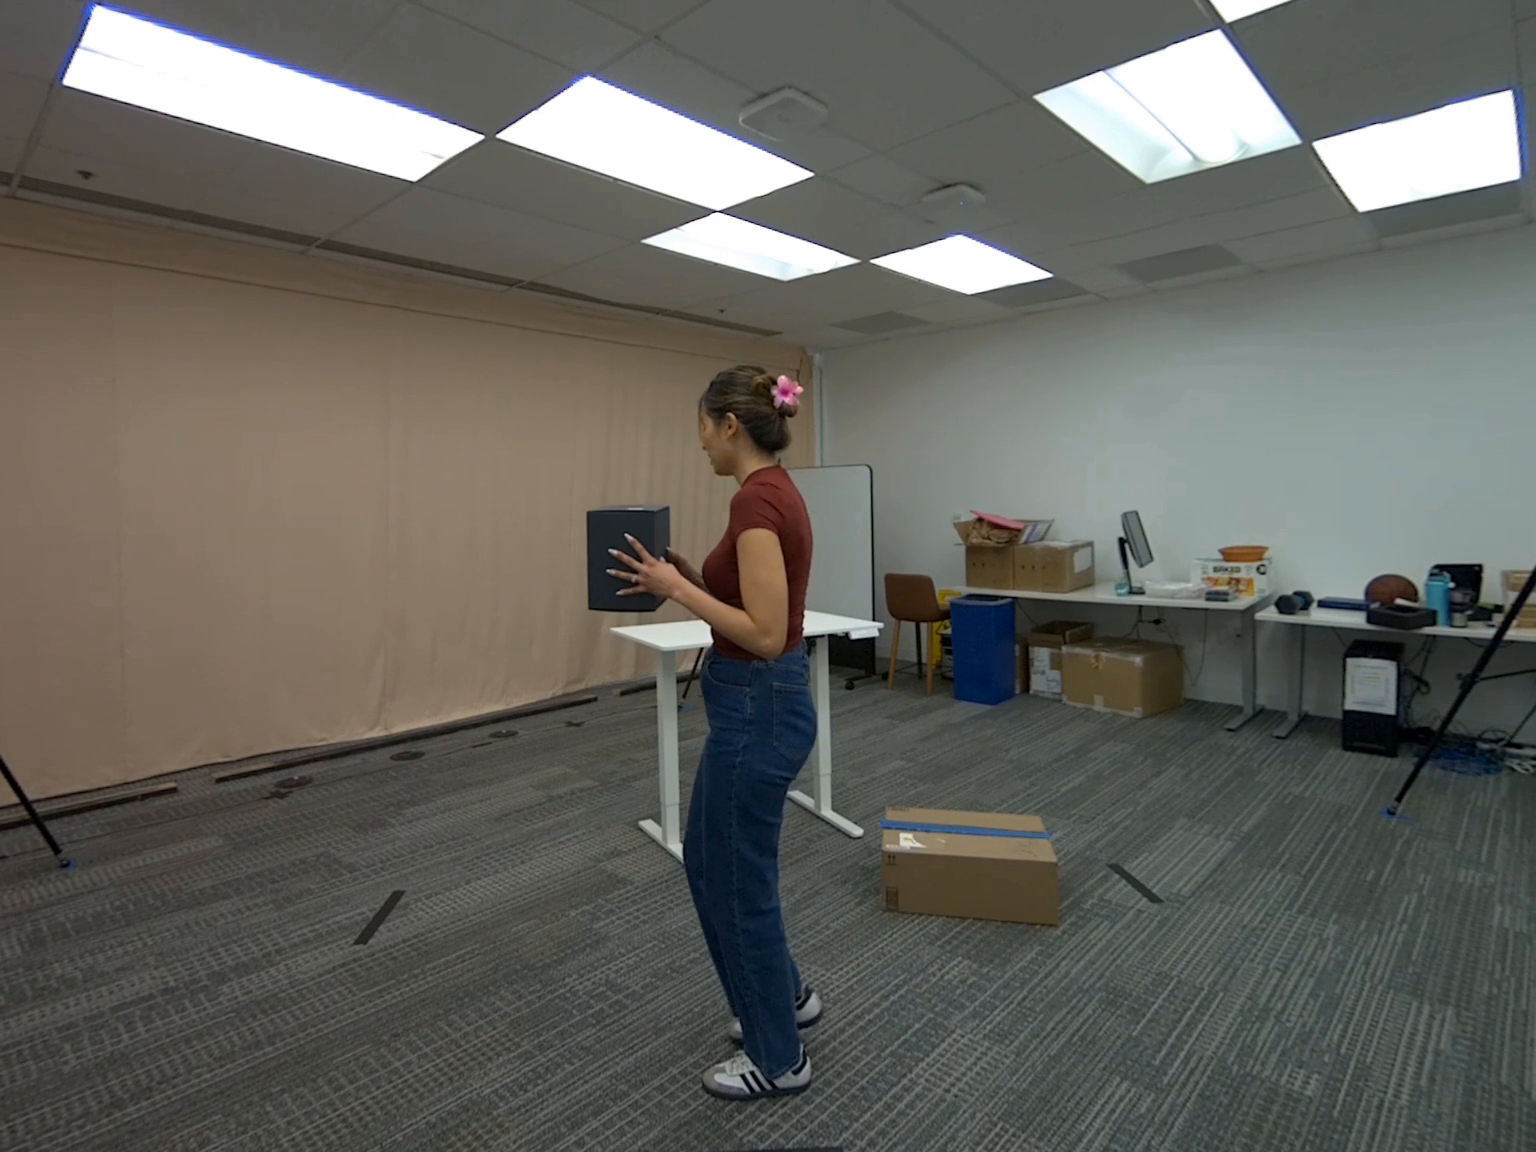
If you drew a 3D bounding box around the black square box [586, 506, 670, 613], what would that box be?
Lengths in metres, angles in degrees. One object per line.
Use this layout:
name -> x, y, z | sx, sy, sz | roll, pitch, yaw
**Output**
black square box -> -0.321, -0.050, 1.985 | 0.157, 0.227, 0.216 | 0, 6, 4
